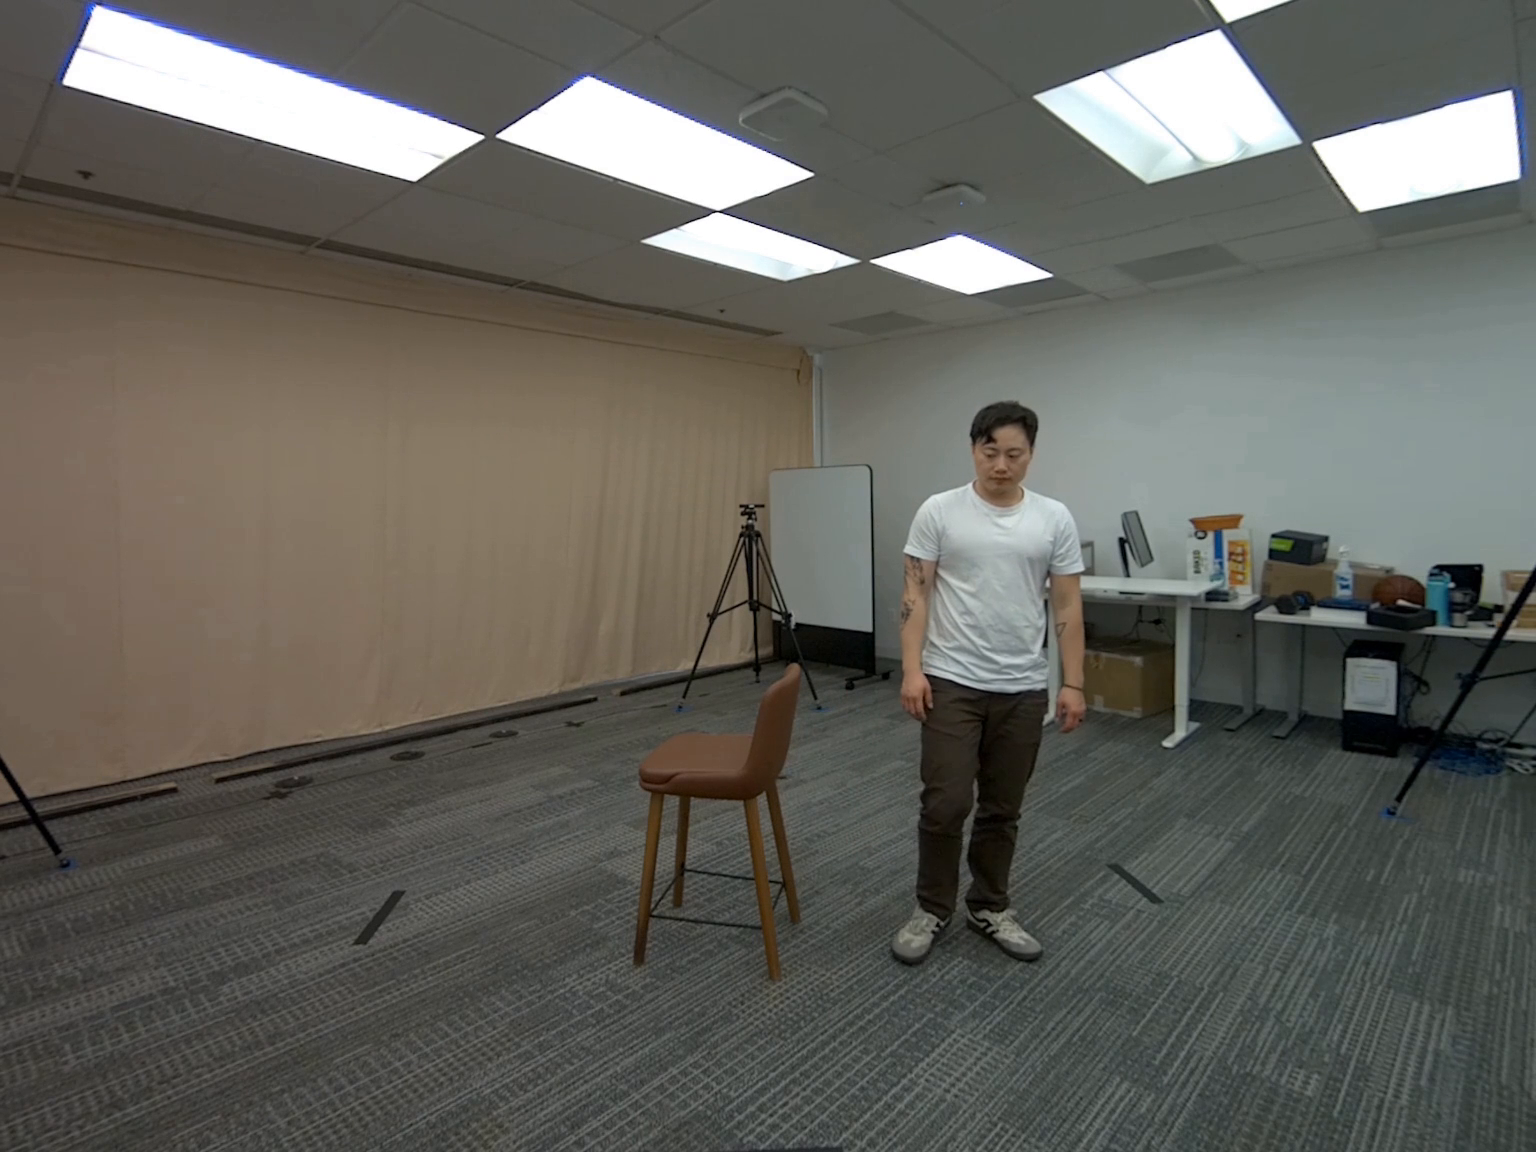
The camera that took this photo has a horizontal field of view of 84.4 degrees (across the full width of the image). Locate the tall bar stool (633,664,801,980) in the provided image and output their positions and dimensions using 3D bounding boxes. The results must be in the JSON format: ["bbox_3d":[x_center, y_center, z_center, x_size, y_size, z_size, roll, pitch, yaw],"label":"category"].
[{"bbox_3d":[-0.144,0.734,2.671,0.476,0.887,0.450,2,4,16],"label":"tall bar stool"}]
